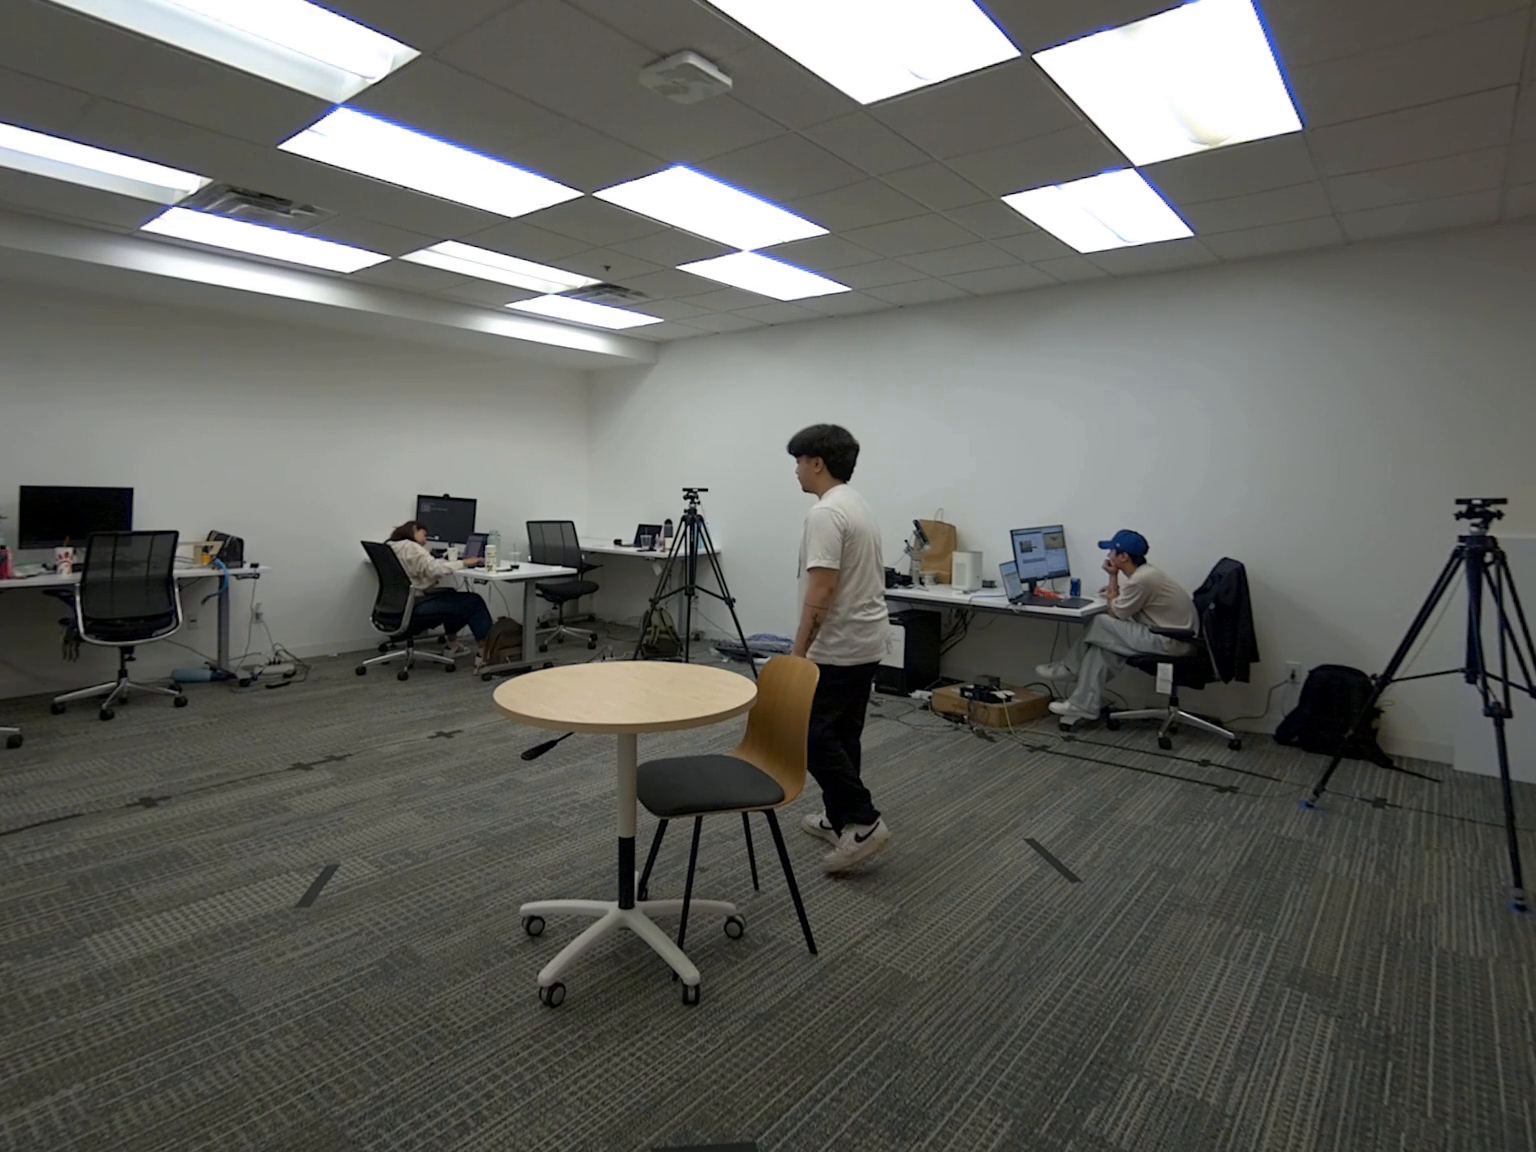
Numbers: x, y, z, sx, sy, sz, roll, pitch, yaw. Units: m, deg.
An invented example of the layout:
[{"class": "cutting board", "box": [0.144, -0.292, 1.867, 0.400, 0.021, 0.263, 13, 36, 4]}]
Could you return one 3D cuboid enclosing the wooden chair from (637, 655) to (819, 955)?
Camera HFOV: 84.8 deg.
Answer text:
[{"class": "wooden chair", "box": [-0.152, 0.687, 2.655, 0.511, 0.876, 0.490, 5, 2, -23]}]
